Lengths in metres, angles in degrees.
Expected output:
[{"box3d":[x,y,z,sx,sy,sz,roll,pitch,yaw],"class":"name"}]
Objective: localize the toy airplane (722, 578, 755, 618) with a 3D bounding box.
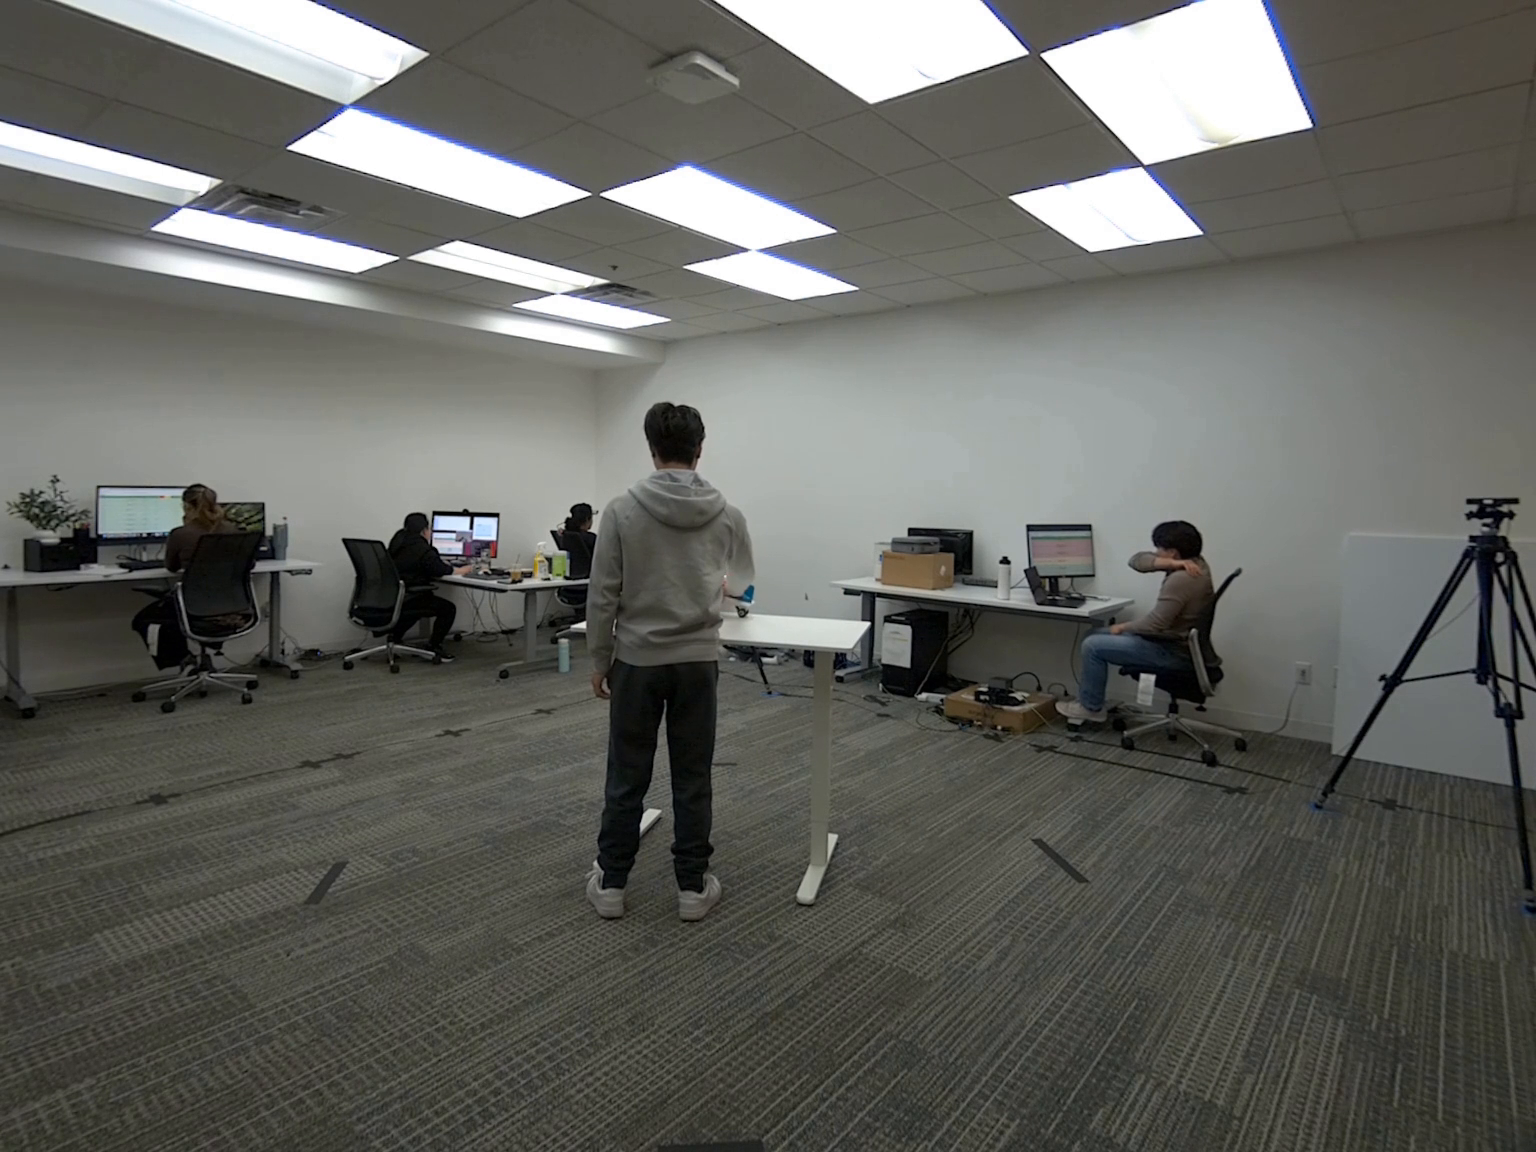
[{"box3d":[-0.193,0.077,3.424,0.255,0.156,0.256,0,6,-15],"class":"toy airplane"}]
